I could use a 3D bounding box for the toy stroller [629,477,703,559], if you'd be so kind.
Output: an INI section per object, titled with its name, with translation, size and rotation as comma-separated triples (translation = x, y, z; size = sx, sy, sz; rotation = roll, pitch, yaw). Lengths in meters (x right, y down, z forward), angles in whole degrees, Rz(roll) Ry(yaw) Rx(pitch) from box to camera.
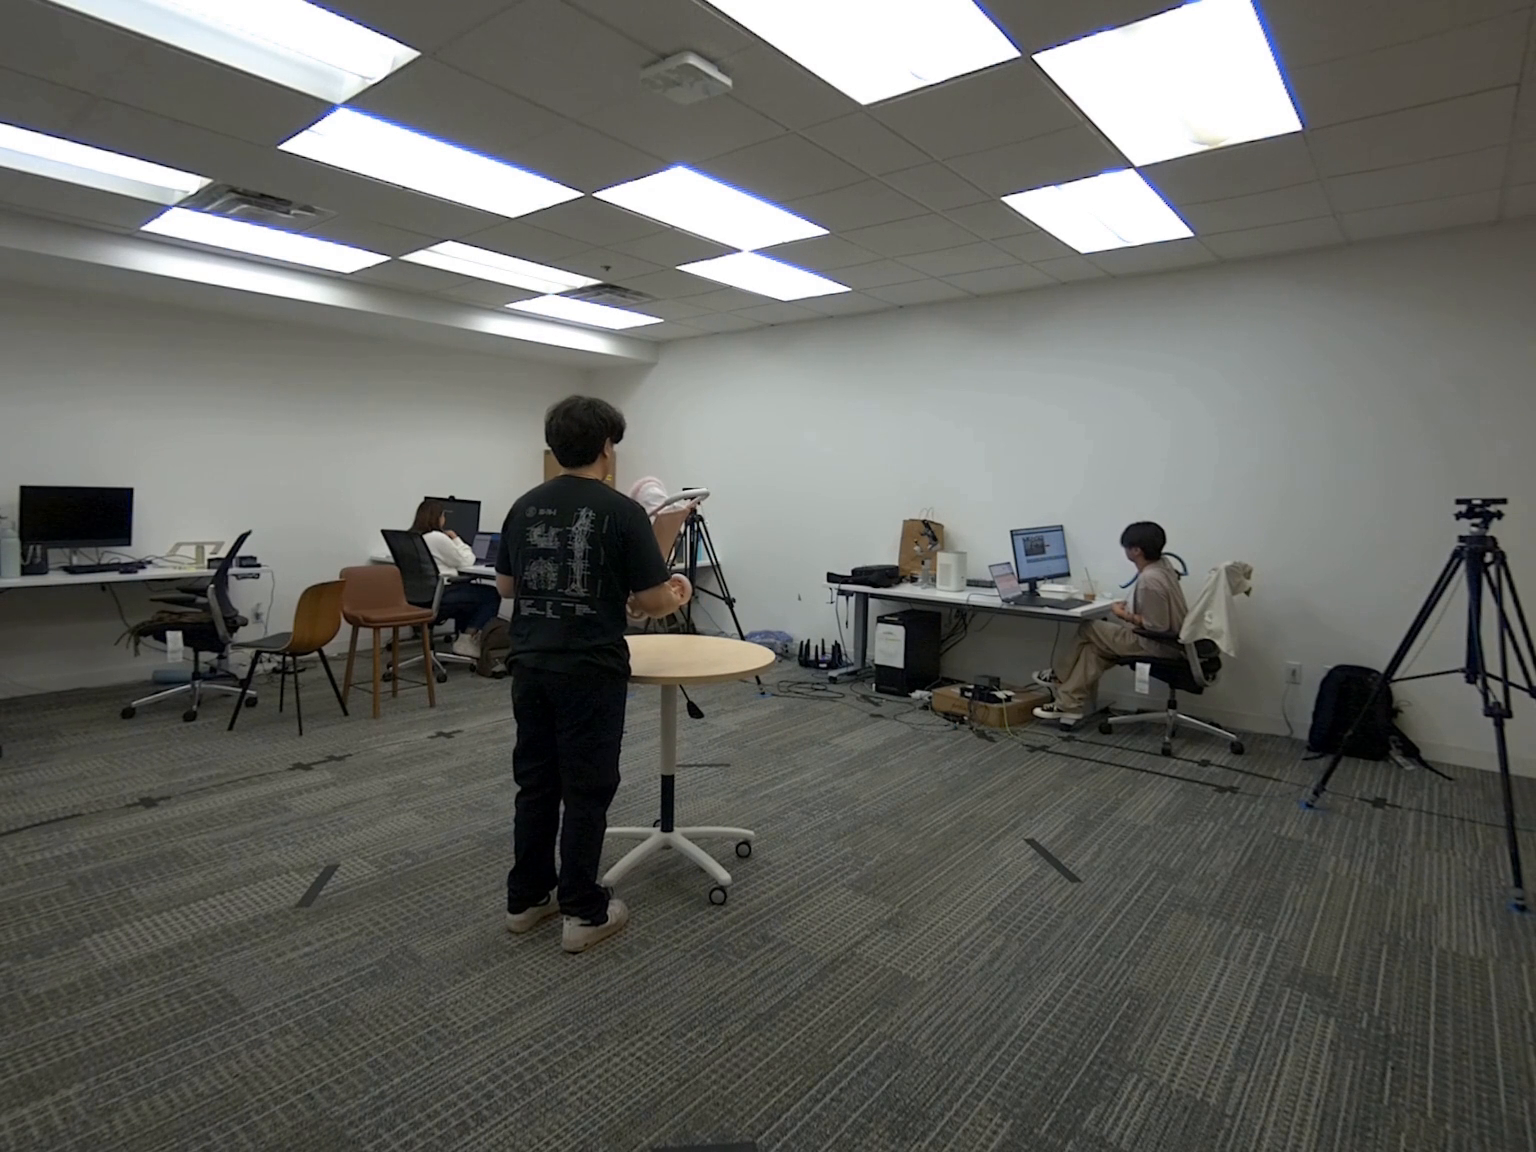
[toy stroller]
translation = -0.436, -0.106, 2.948
size = 0.354, 0.528, 0.275
rotation = 27, 23, 30
